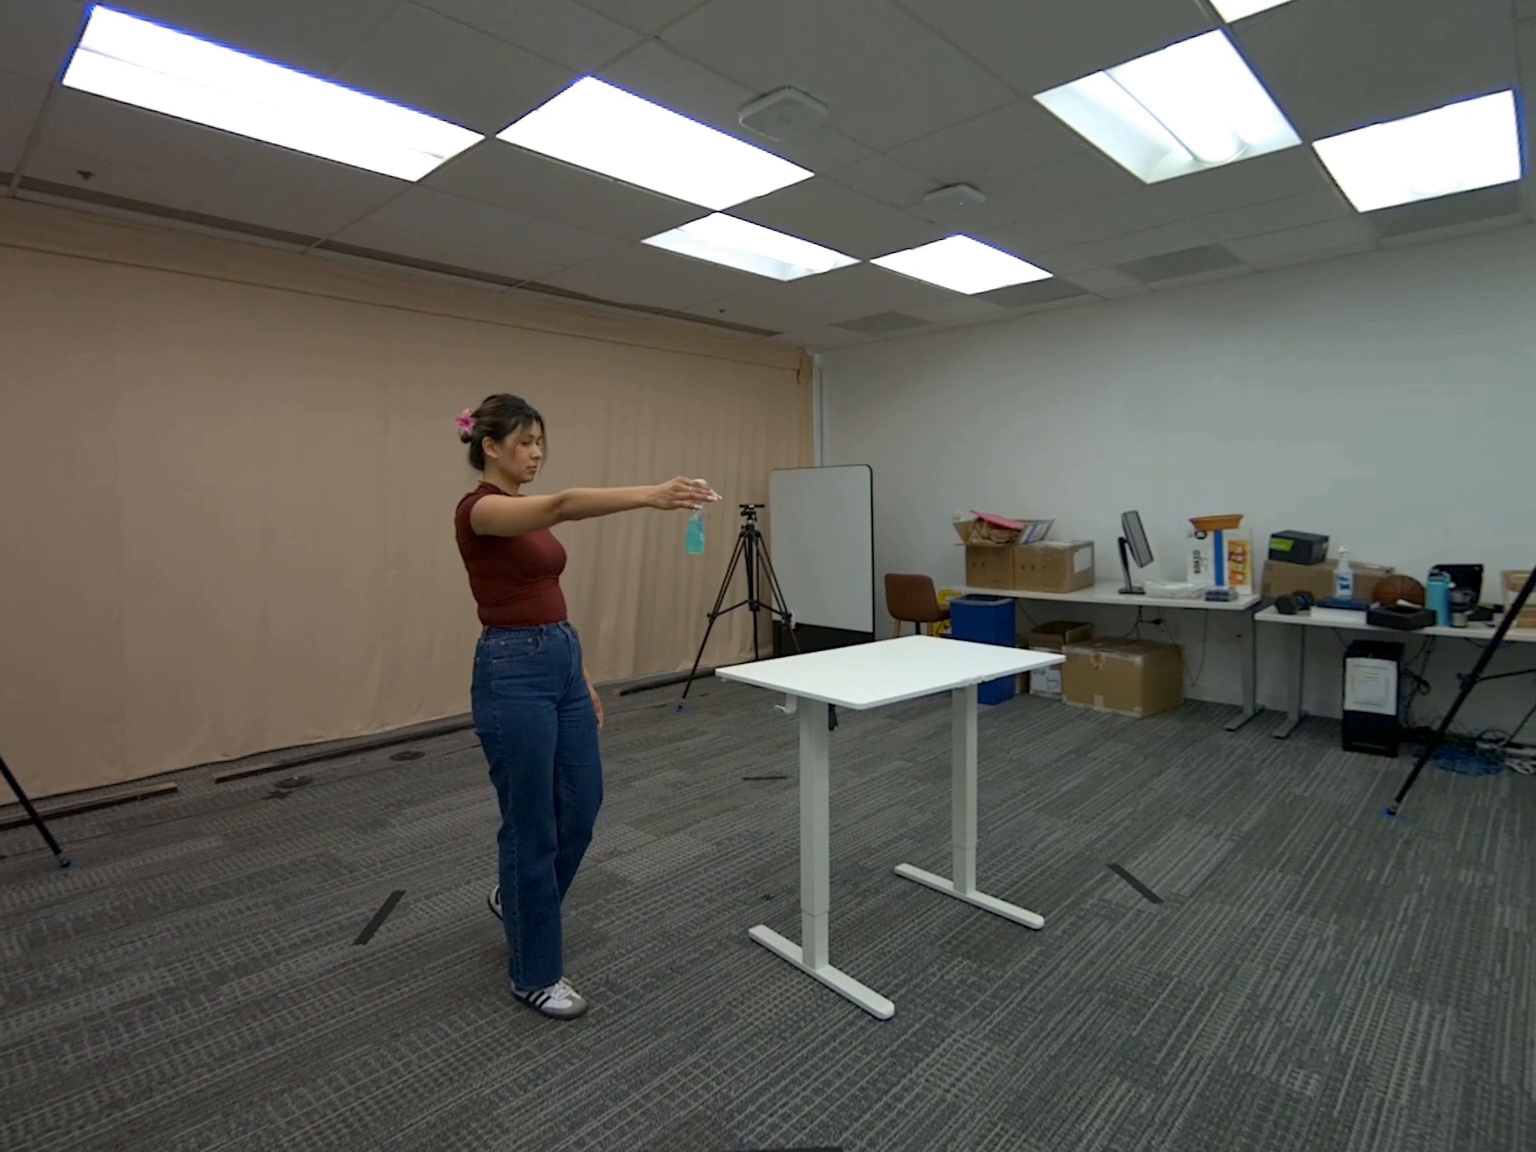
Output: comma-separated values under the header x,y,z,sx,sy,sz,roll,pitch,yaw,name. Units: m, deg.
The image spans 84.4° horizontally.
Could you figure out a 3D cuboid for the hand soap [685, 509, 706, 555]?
x,y,z,sx,sy,sz,roll,pitch,yaw,name
-0.166,-0.132,1.901,0.044,0.168,0.083,1,-3,9,hand soap
